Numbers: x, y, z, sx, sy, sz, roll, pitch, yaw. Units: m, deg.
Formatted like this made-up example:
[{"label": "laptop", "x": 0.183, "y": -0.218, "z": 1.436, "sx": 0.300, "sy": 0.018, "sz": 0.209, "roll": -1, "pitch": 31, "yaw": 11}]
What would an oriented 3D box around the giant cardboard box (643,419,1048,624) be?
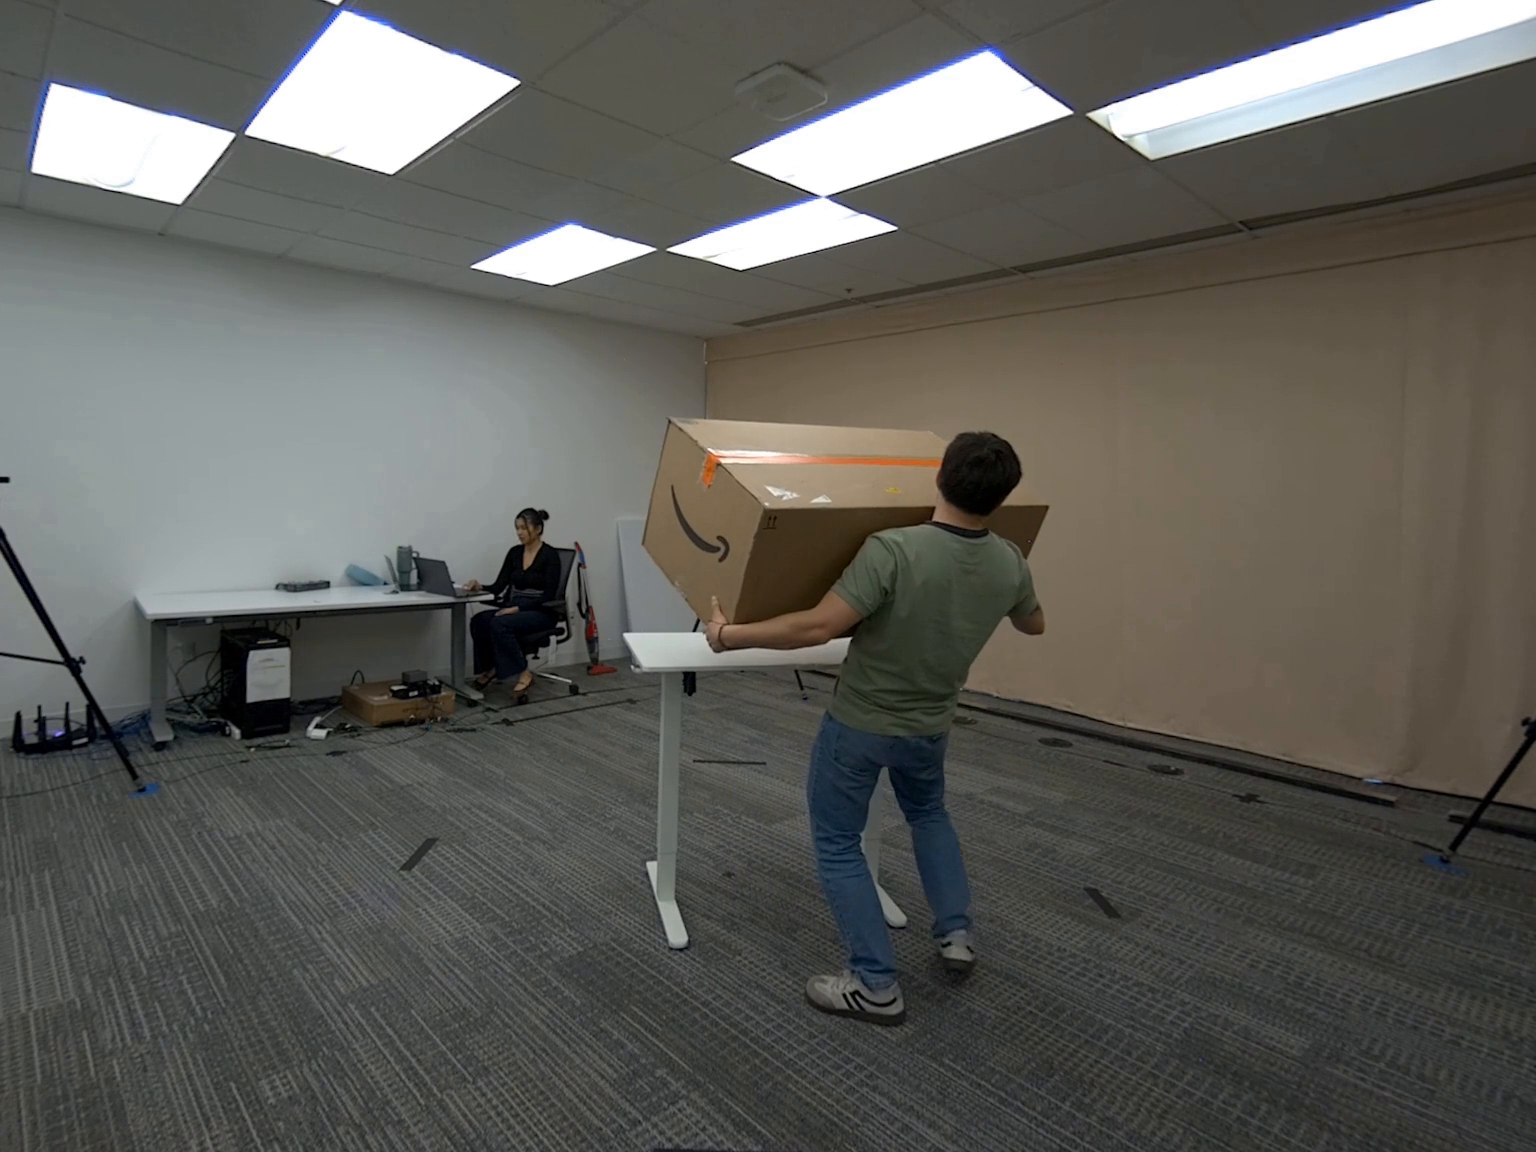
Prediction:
[{"label": "giant cardboard box", "x": 0.229, "y": -0.151, "z": 2.564, "sx": 1.005, "sy": 0.421, "sz": 0.596, "roll": -3, "pitch": 32, "yaw": -31}]
